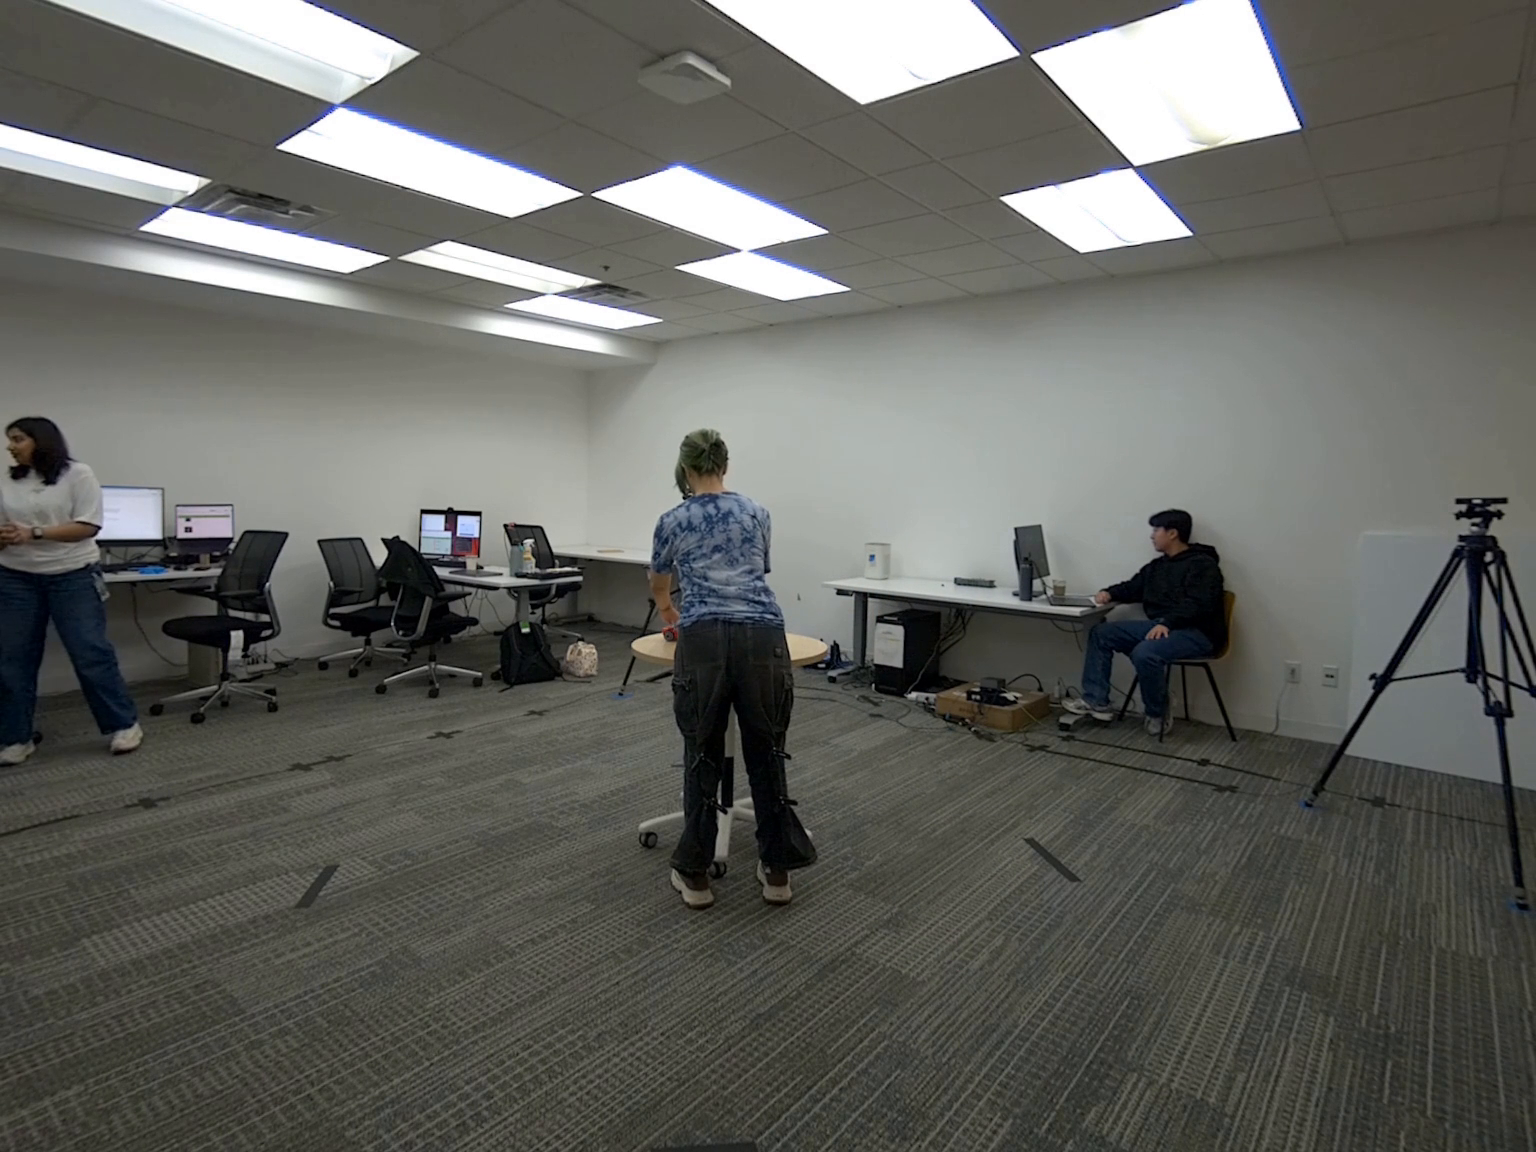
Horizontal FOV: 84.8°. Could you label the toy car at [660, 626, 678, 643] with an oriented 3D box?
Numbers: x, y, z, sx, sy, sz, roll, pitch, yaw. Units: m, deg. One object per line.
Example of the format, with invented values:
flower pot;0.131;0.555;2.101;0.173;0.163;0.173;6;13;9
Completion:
toy car;-0.302;0.226;3.422;0.258;0.083;0.128;-8;0;13
